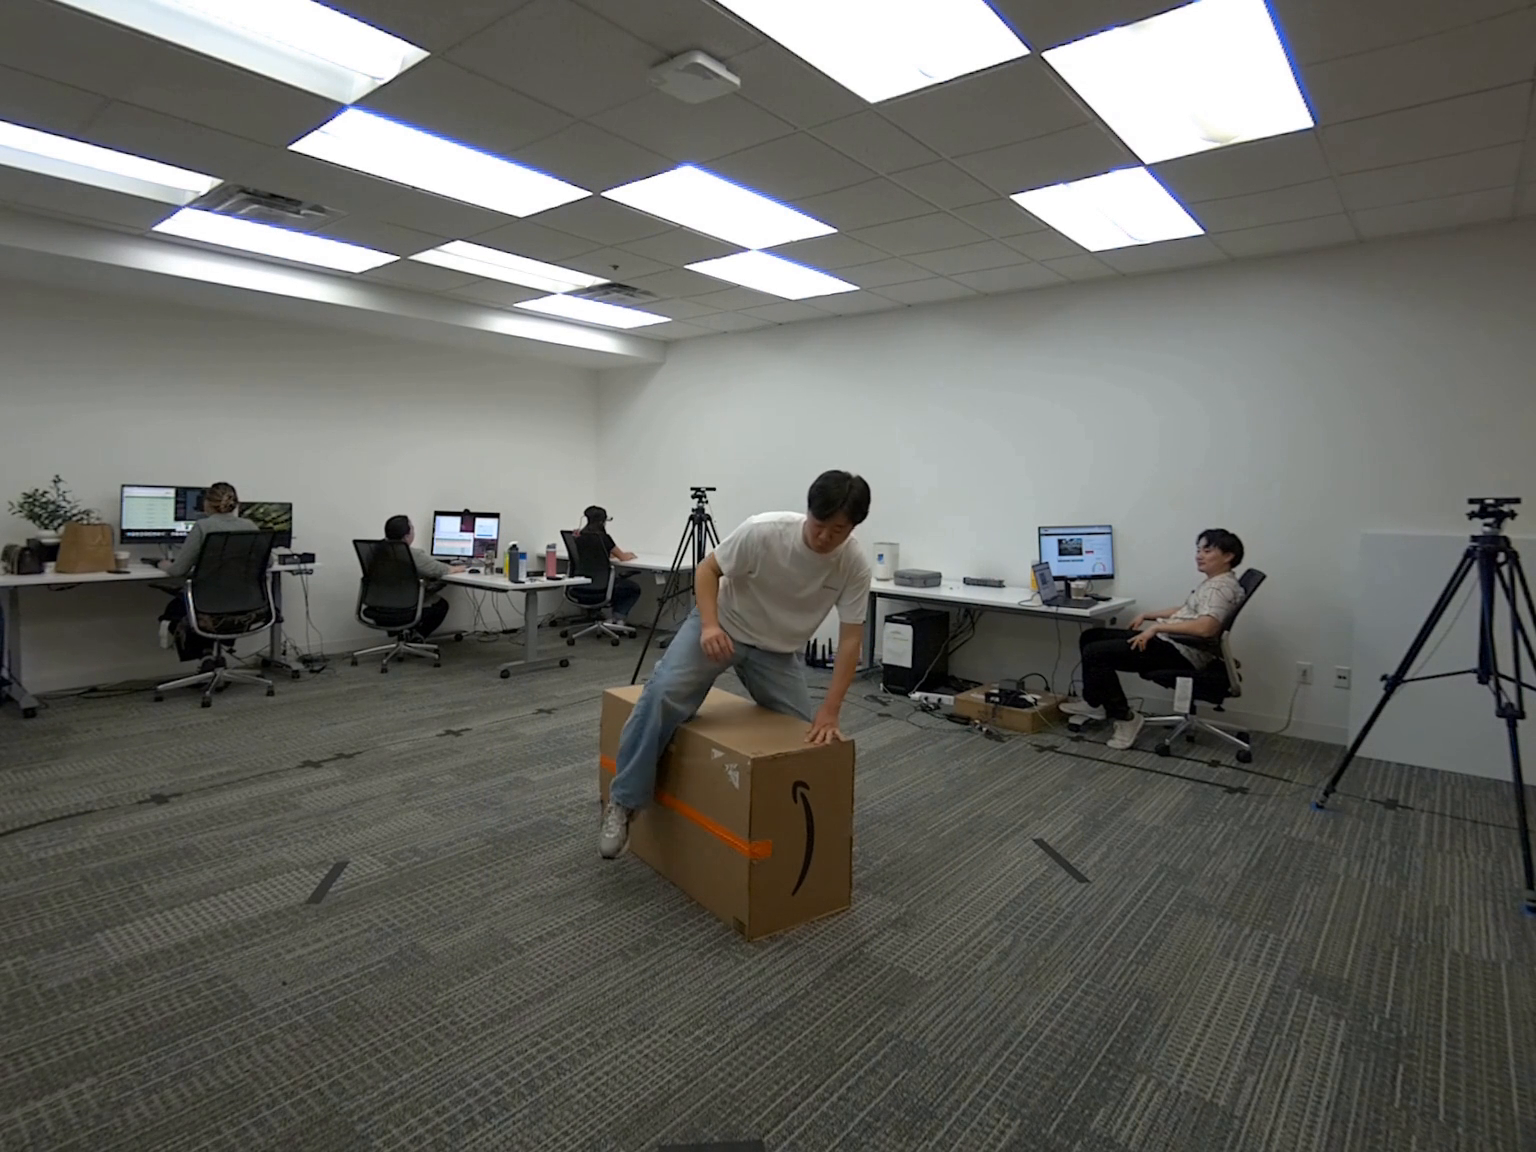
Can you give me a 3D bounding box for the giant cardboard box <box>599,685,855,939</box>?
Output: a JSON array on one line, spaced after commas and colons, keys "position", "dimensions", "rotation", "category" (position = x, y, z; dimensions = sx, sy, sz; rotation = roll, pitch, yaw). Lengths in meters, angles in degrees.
[{"position": [-0.202, 0.778, 3.120], "dimensions": [0.414, 0.576, 1.060], "rotation": [-1, 5, -36], "category": "giant cardboard box"}]
